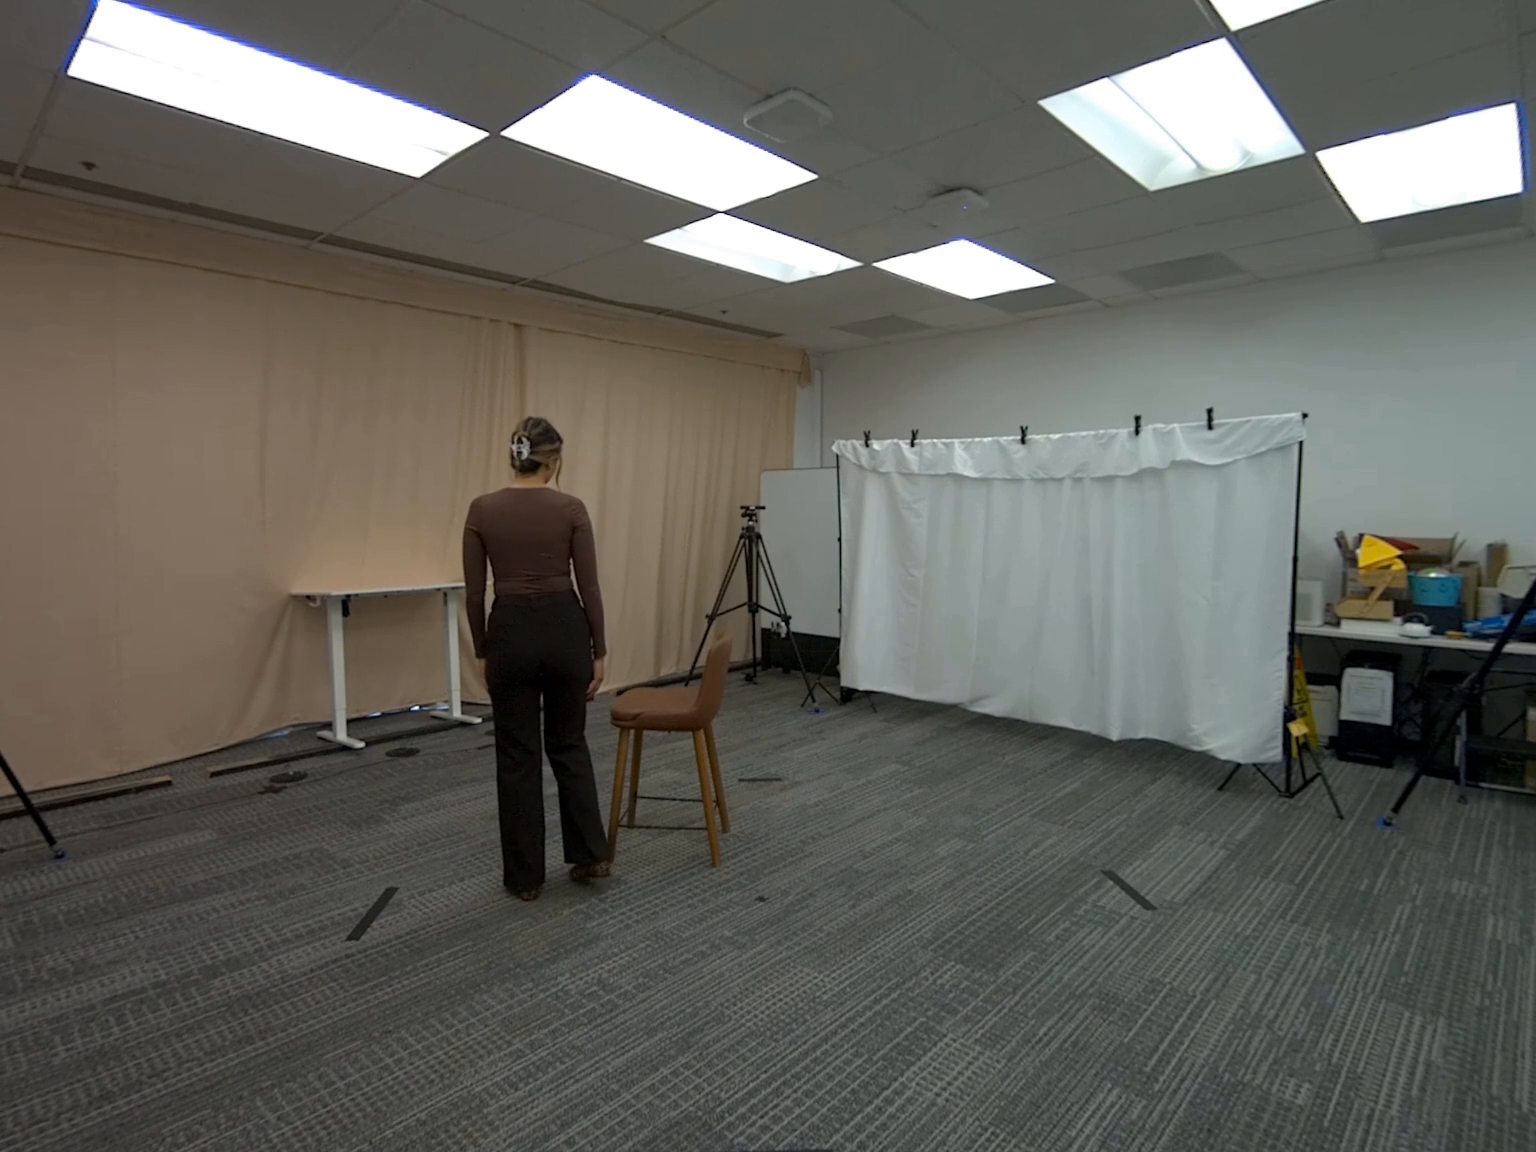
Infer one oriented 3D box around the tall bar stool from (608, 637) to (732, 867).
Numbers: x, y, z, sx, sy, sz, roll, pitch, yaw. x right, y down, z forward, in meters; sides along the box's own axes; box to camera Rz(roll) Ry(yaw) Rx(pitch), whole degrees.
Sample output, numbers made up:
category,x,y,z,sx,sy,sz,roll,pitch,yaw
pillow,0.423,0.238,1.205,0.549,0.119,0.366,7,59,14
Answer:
category,x,y,z,sx,sy,sz,roll,pitch,yaw
tall bar stool,-0.397,0.673,3.438,0.471,0.888,0.454,1,3,5
